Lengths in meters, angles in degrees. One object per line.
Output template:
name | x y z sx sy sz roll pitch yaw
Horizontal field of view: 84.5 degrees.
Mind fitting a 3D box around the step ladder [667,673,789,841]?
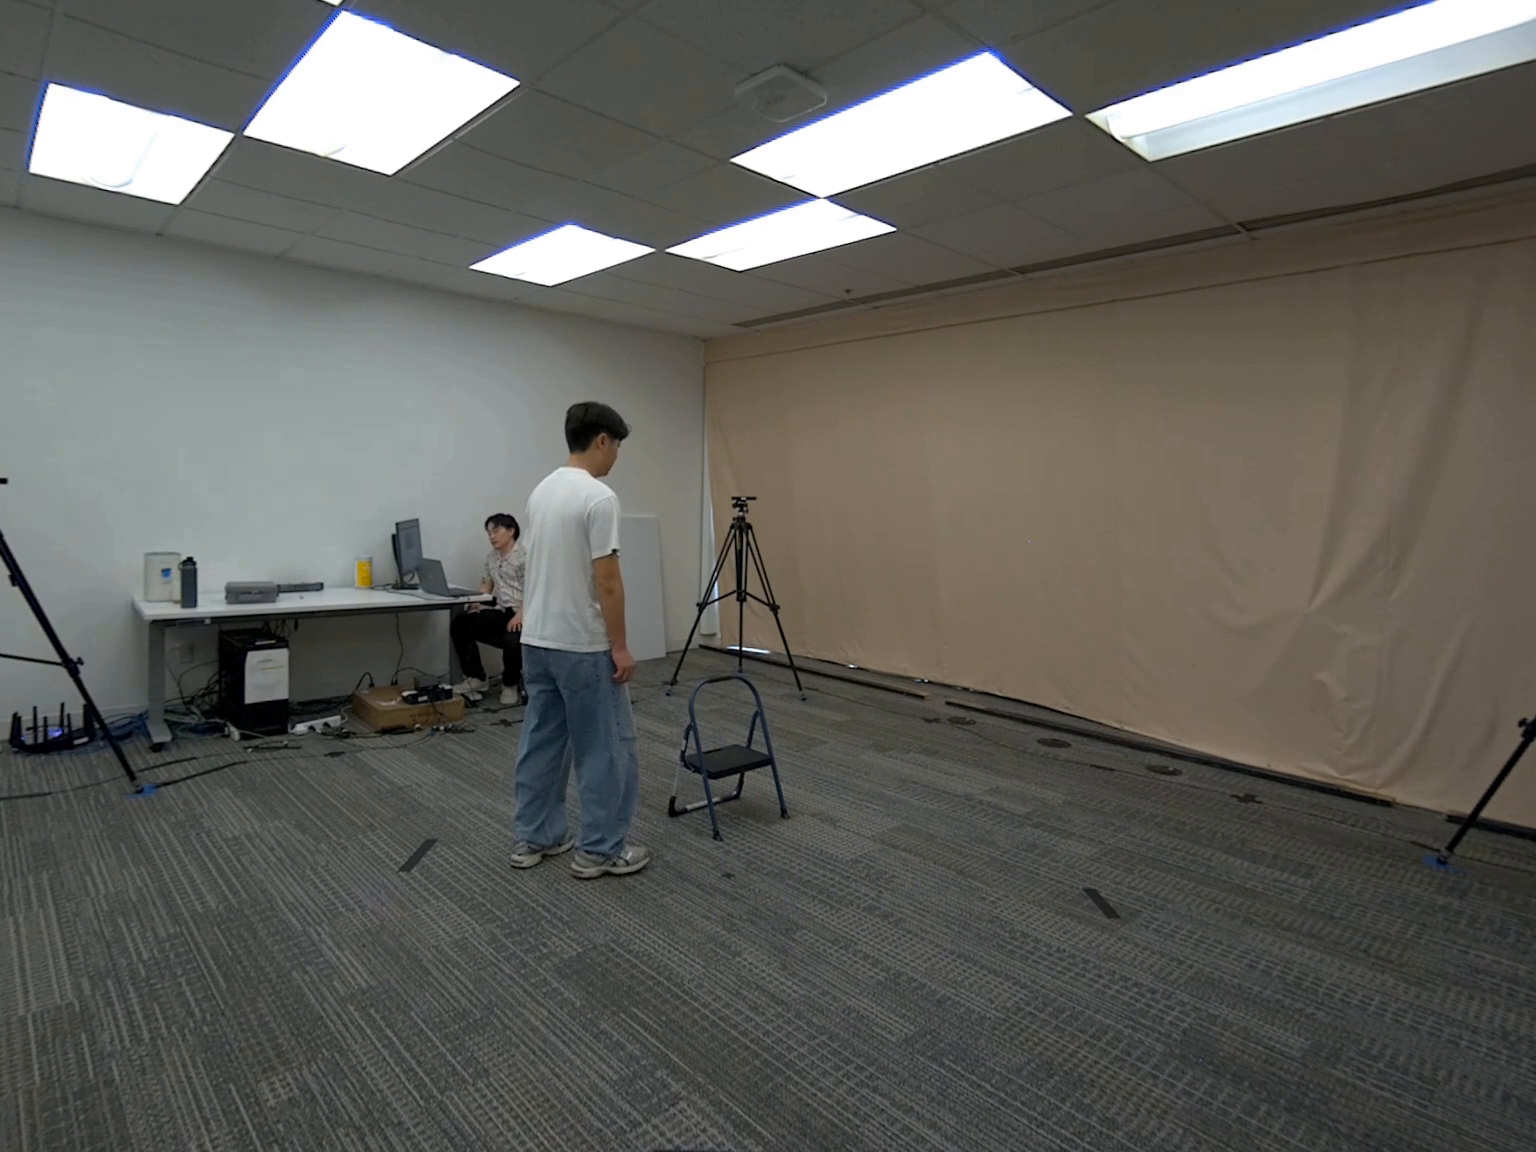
step ladder | -0.172 0.751 3.669 0.420 0.604 0.358 -1 5 -44
